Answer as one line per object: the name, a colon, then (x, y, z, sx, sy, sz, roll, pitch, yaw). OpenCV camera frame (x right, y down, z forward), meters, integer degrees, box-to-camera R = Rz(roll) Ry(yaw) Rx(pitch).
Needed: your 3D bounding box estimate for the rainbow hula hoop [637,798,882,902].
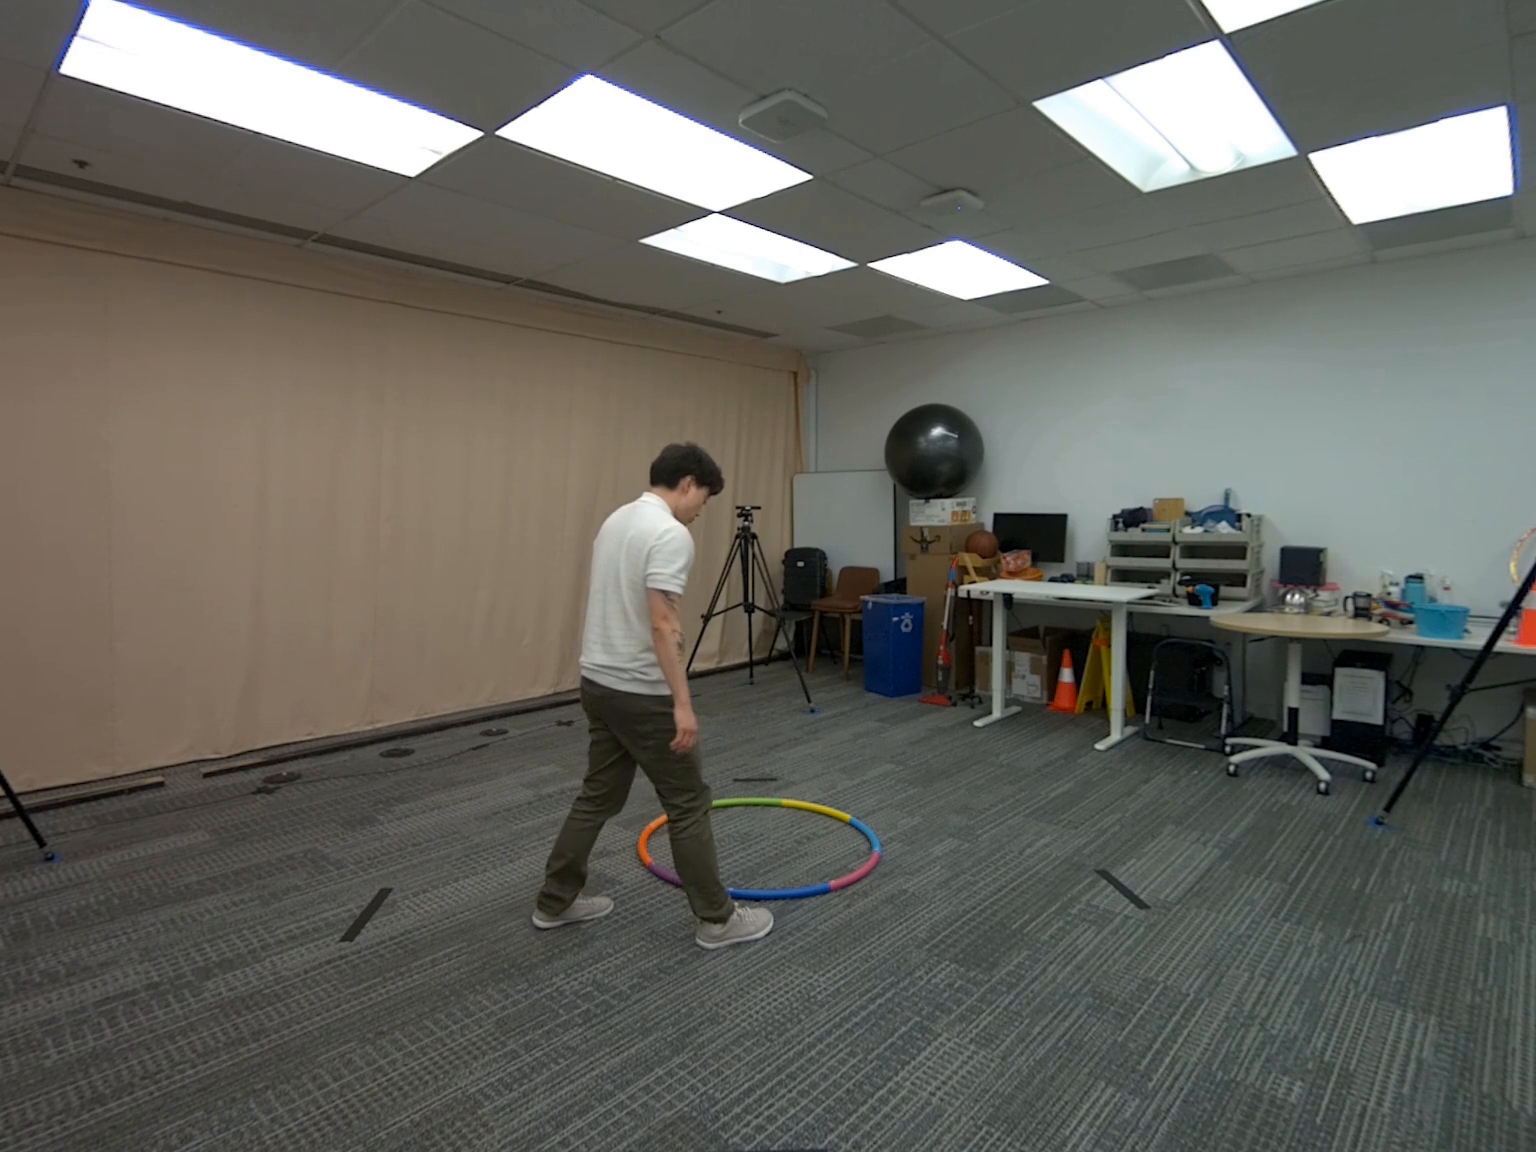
rainbow hula hoop: (-0.037, 1.075, 3.446, 0.978, 0.035, 0.982, 0, 5, -2)
